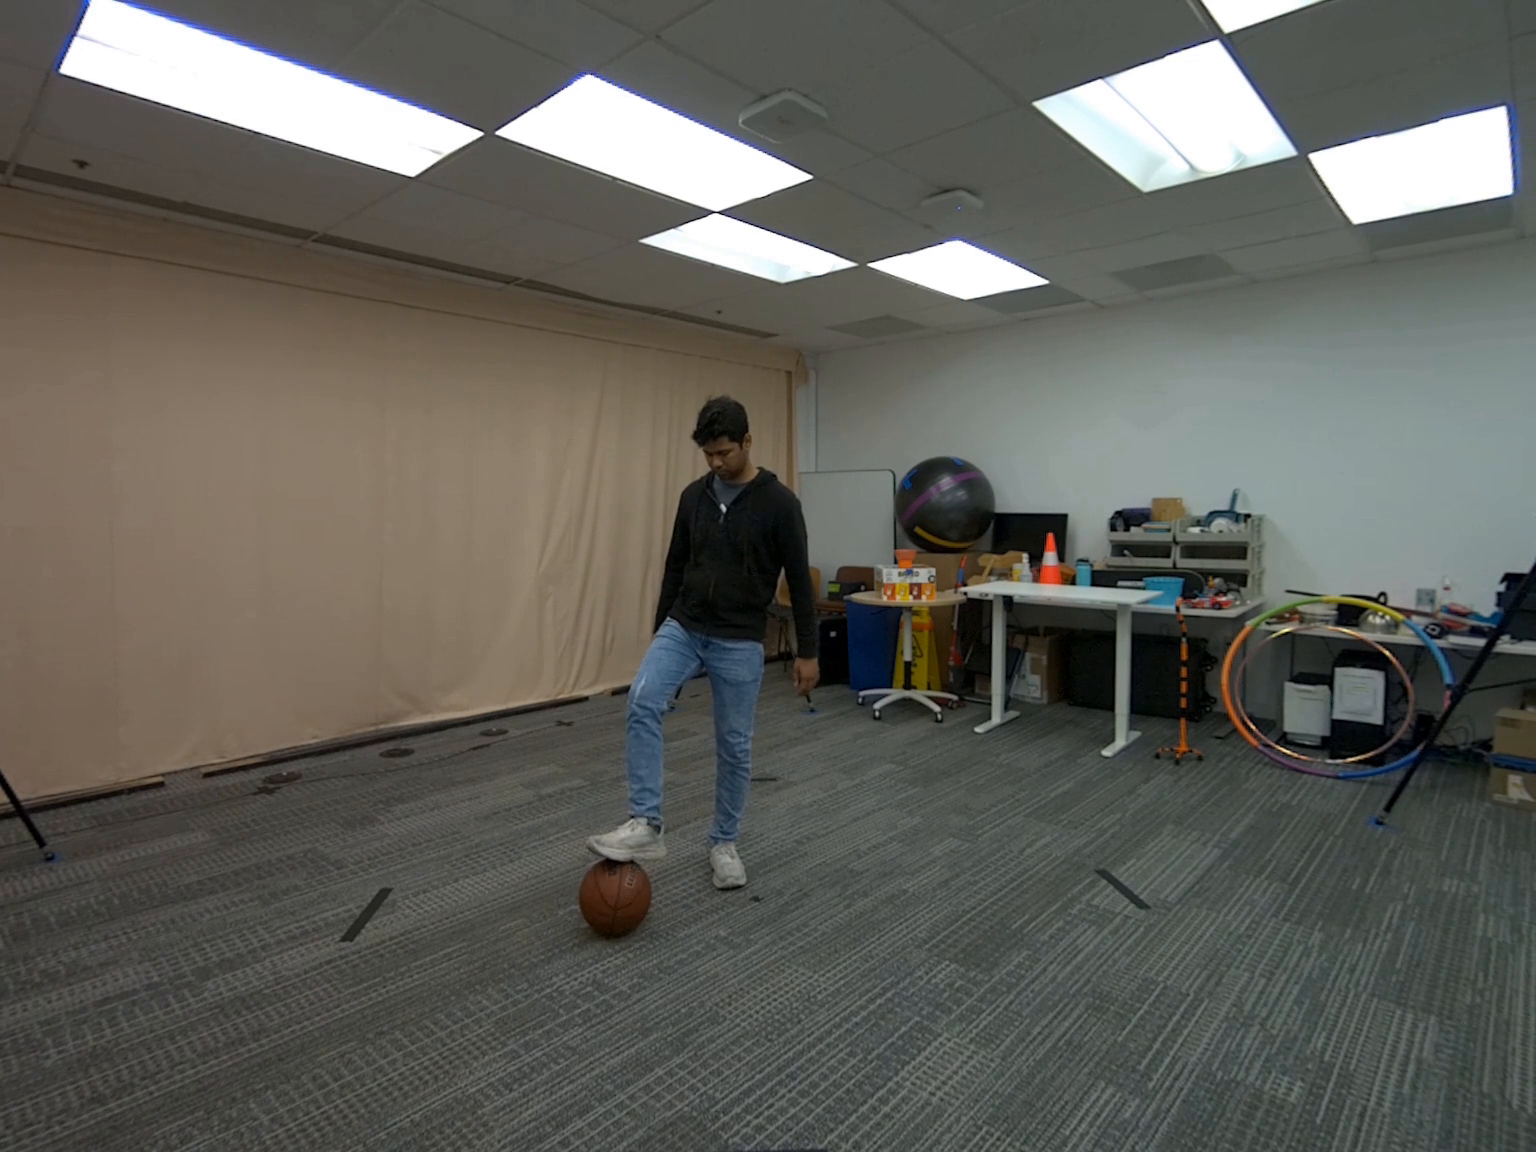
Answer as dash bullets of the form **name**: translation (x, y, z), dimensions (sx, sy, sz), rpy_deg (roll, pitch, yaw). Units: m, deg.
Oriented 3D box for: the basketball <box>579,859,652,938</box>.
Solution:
- **basketball**: translation (-0.500, 1.049, 2.770), dimensions (0.236, 0.235, 0.237), rpy_deg (0, 4, -2)
